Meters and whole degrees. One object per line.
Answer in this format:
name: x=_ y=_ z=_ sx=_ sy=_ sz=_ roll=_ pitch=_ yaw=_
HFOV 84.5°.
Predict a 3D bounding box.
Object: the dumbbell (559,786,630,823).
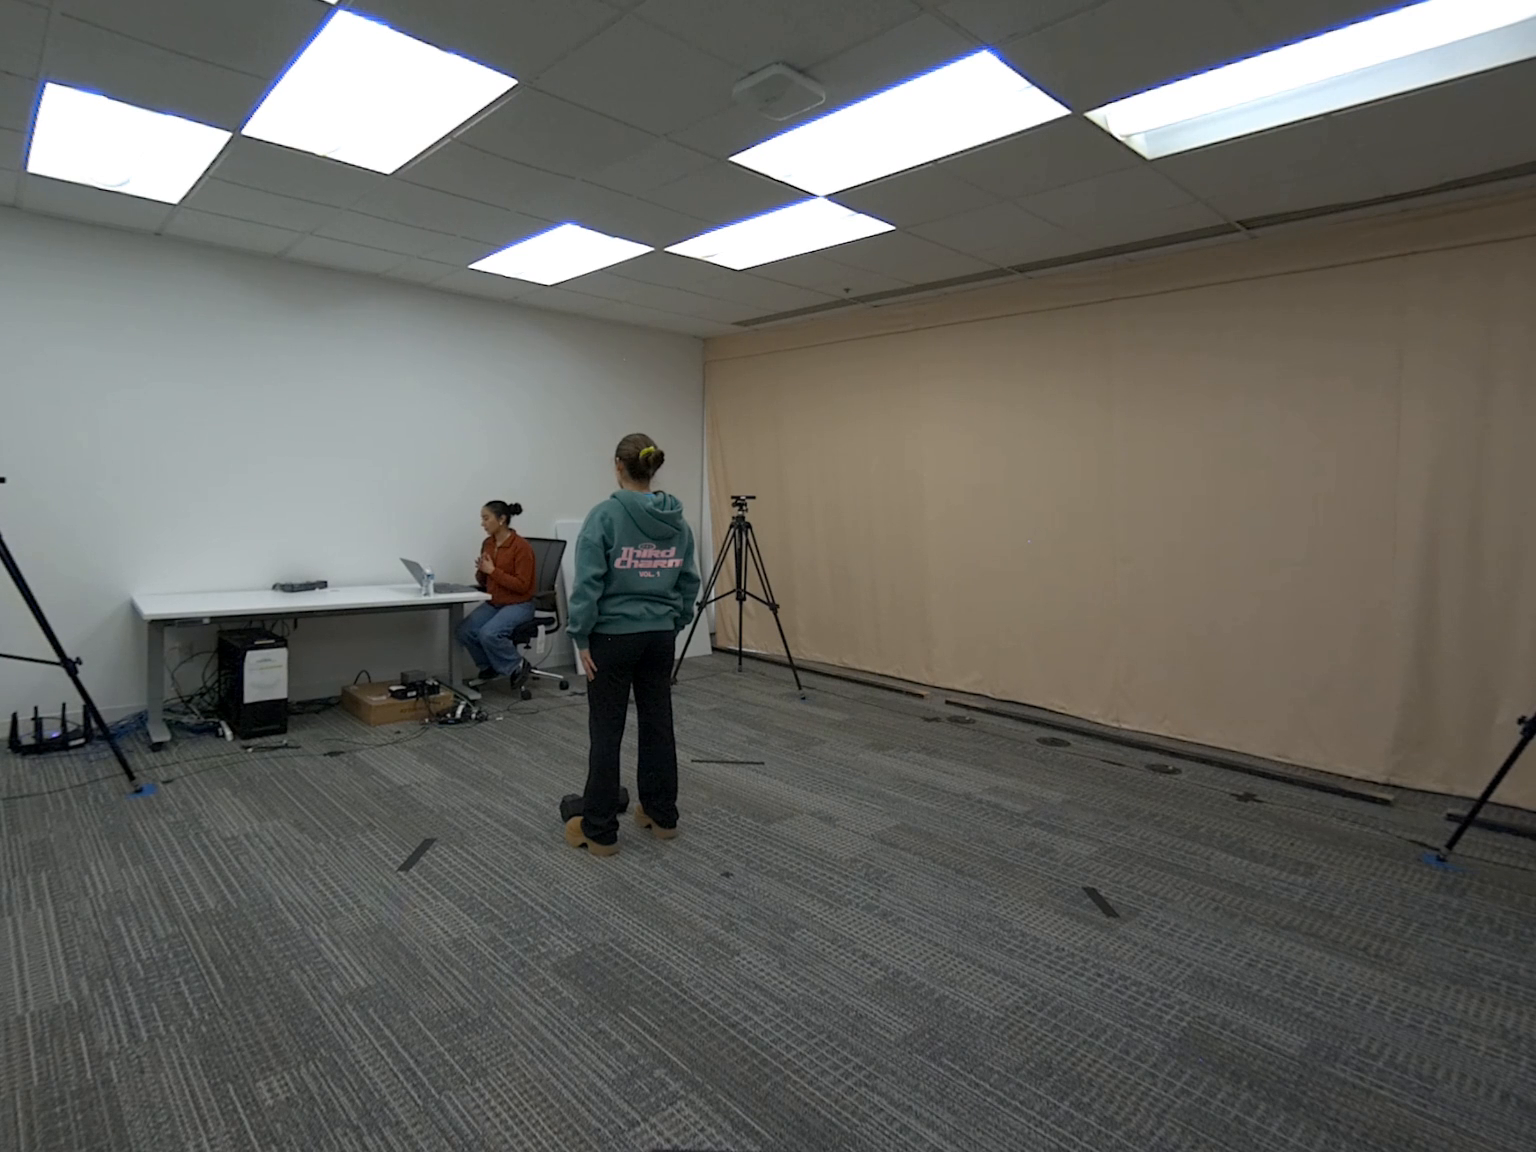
dumbbell: x=-0.754 y=0.989 z=3.642 sx=0.287 sy=0.125 sz=0.109 roll=-3 pitch=-26 yaw=-40
